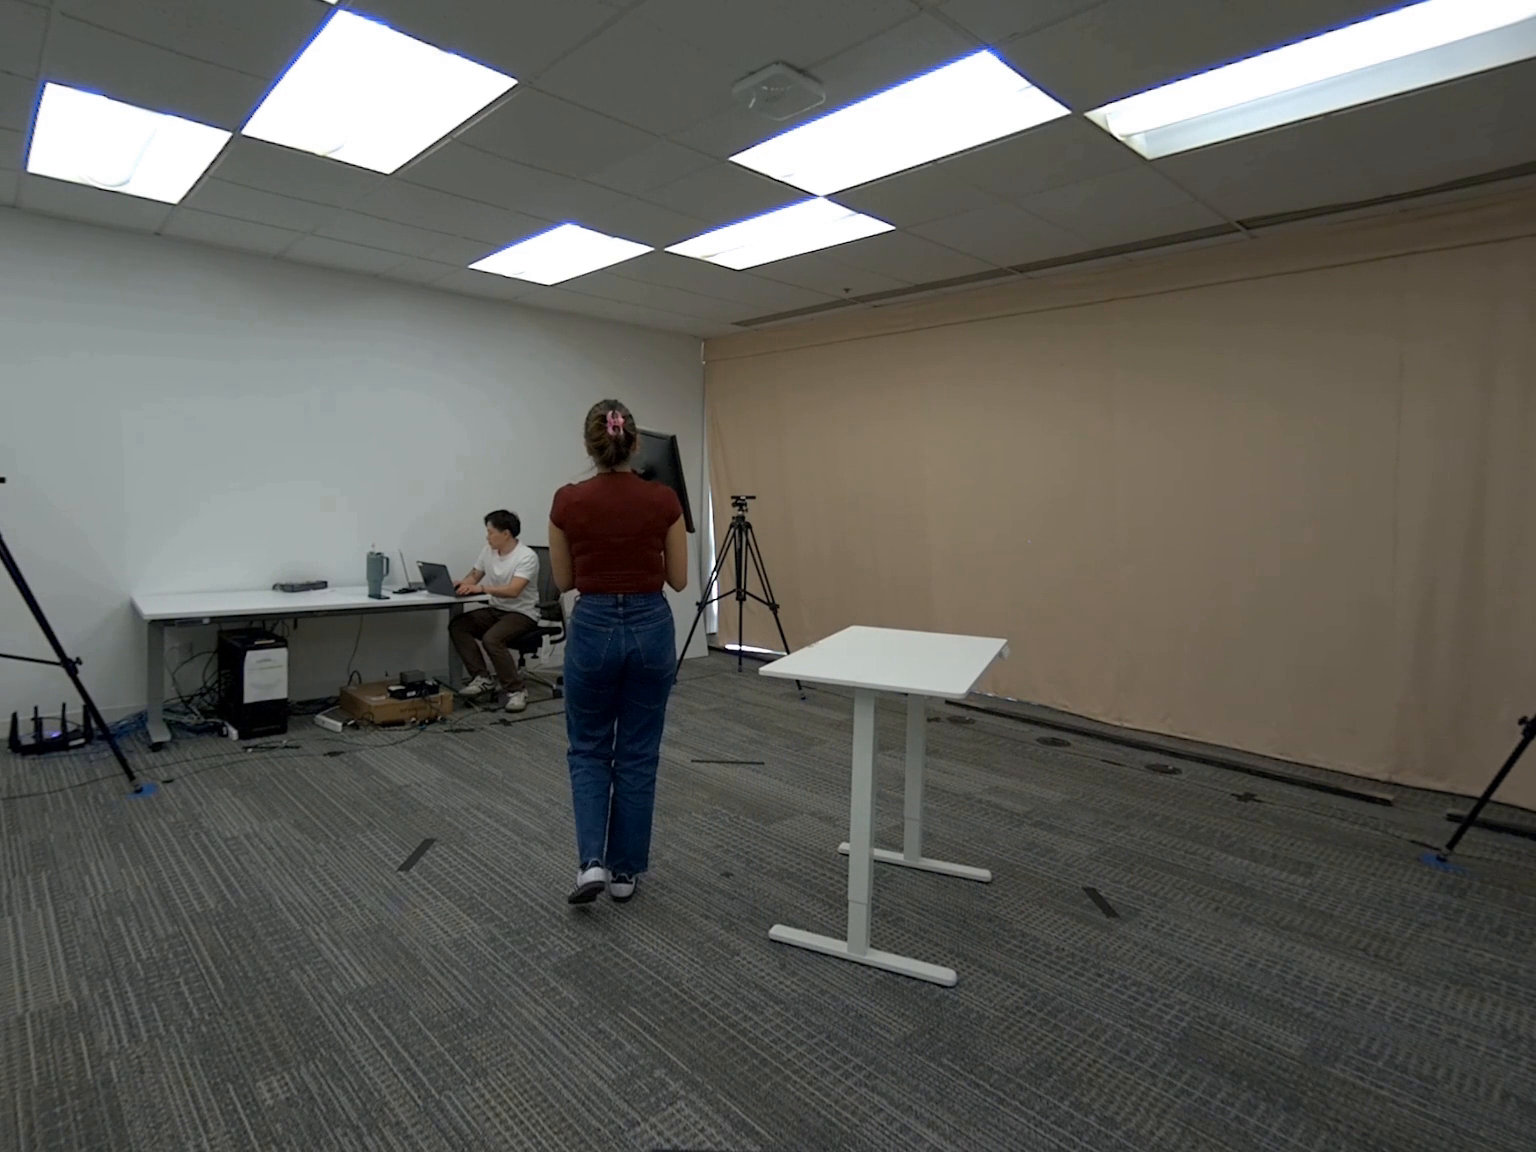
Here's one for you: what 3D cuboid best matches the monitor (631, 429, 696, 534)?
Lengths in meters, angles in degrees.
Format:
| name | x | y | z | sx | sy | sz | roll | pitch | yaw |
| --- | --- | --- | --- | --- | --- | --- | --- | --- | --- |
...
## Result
| name | x | y | z | sx | sy | sz | roll | pitch | yaw |
| --- | --- | --- | --- | --- | --- | --- | --- | --- | --- |
| monitor | -0.463 | -0.282 | 3.097 | 0.183 | 0.518 | 0.554 | -5 | 16 | -31 |
